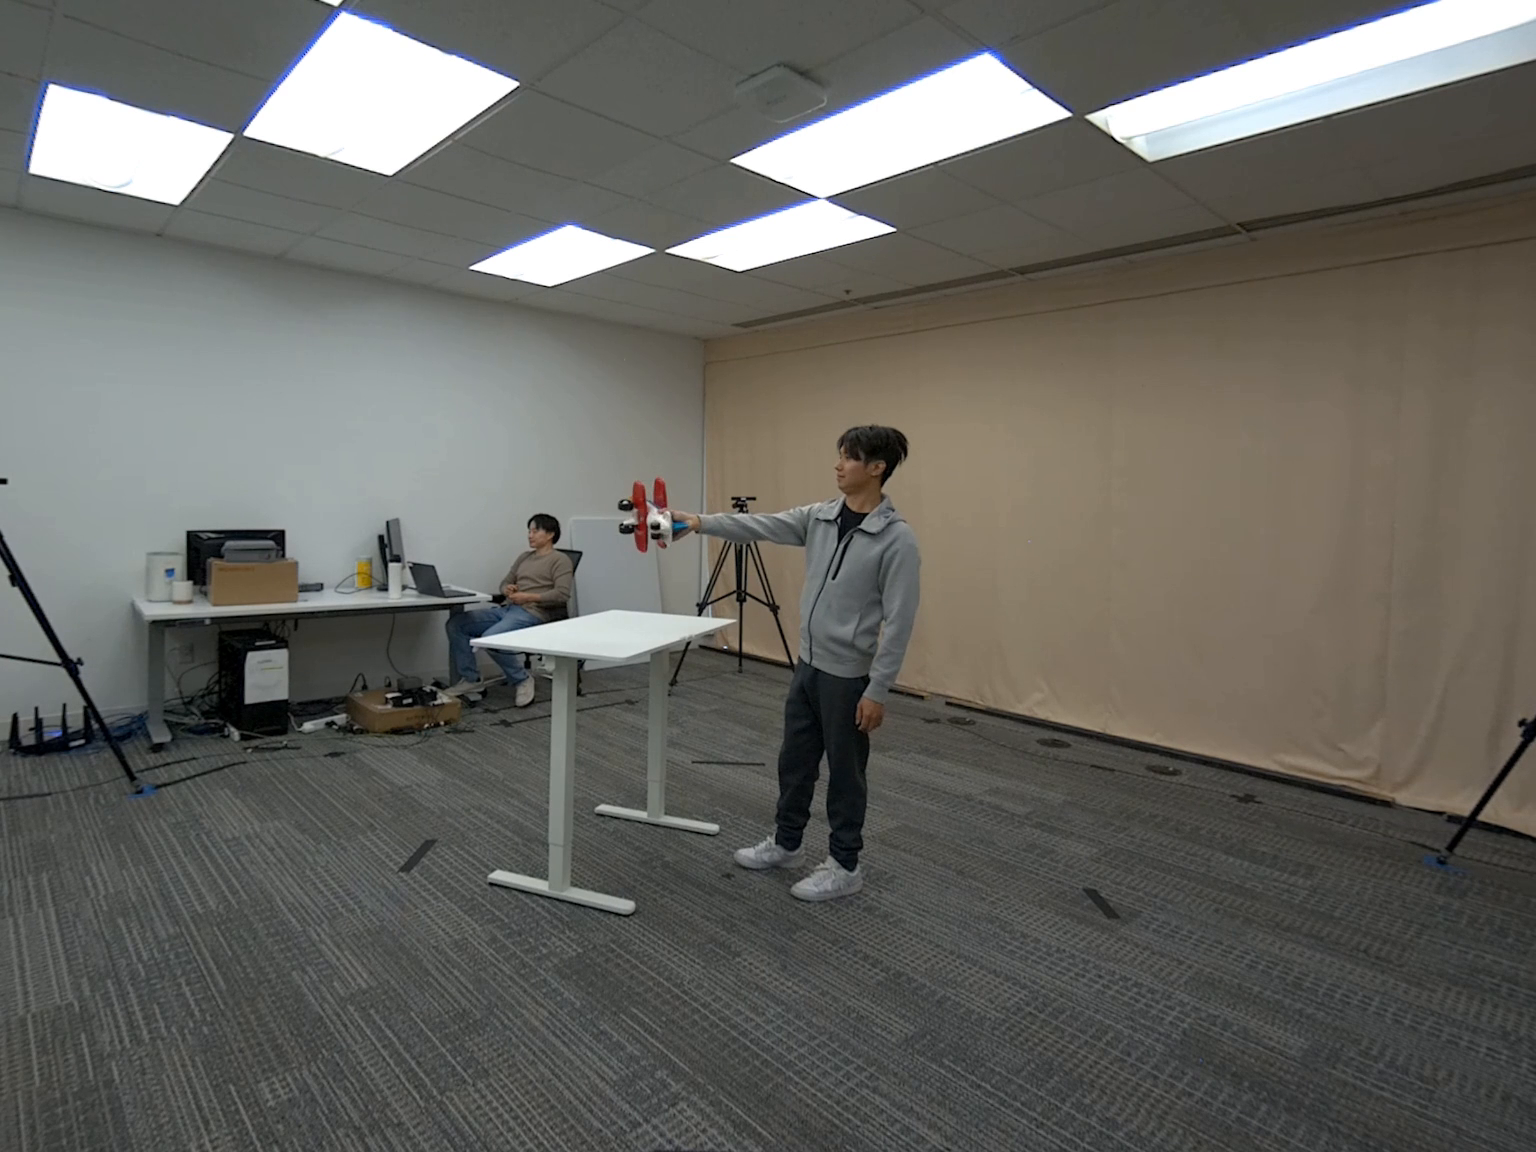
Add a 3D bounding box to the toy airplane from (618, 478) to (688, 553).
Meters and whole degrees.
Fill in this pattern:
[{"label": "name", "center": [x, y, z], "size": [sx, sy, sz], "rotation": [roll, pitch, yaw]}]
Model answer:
[{"label": "toy airplane", "center": [-0.396, -0.174, 2.883], "size": [0.154, 0.248, 0.266], "rotation": [-19, 57, -40]}]
